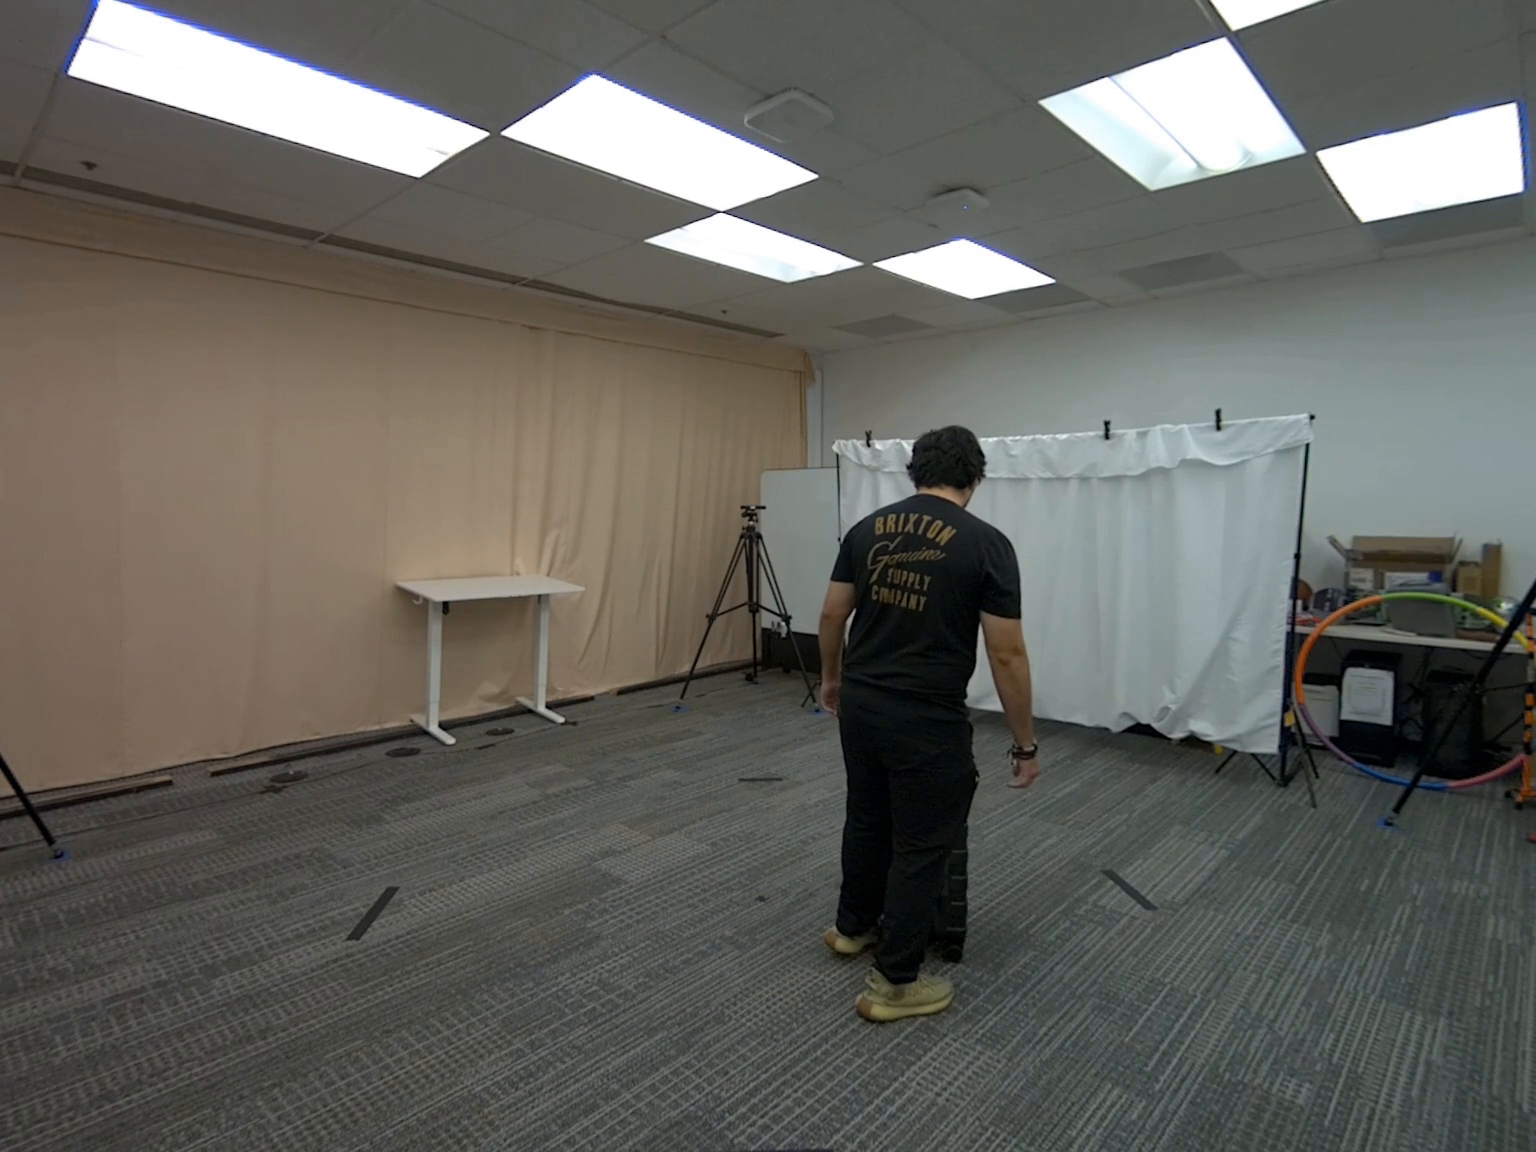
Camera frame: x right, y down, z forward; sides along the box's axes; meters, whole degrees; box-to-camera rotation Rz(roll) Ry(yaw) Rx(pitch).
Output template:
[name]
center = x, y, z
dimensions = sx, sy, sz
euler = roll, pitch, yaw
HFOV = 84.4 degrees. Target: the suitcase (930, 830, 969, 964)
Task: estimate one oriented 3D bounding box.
[suitcase]
center = 0.515, 0.891, 2.717
dimensions = 0.251, 0.548, 0.373
euler = 2, 4, 7
